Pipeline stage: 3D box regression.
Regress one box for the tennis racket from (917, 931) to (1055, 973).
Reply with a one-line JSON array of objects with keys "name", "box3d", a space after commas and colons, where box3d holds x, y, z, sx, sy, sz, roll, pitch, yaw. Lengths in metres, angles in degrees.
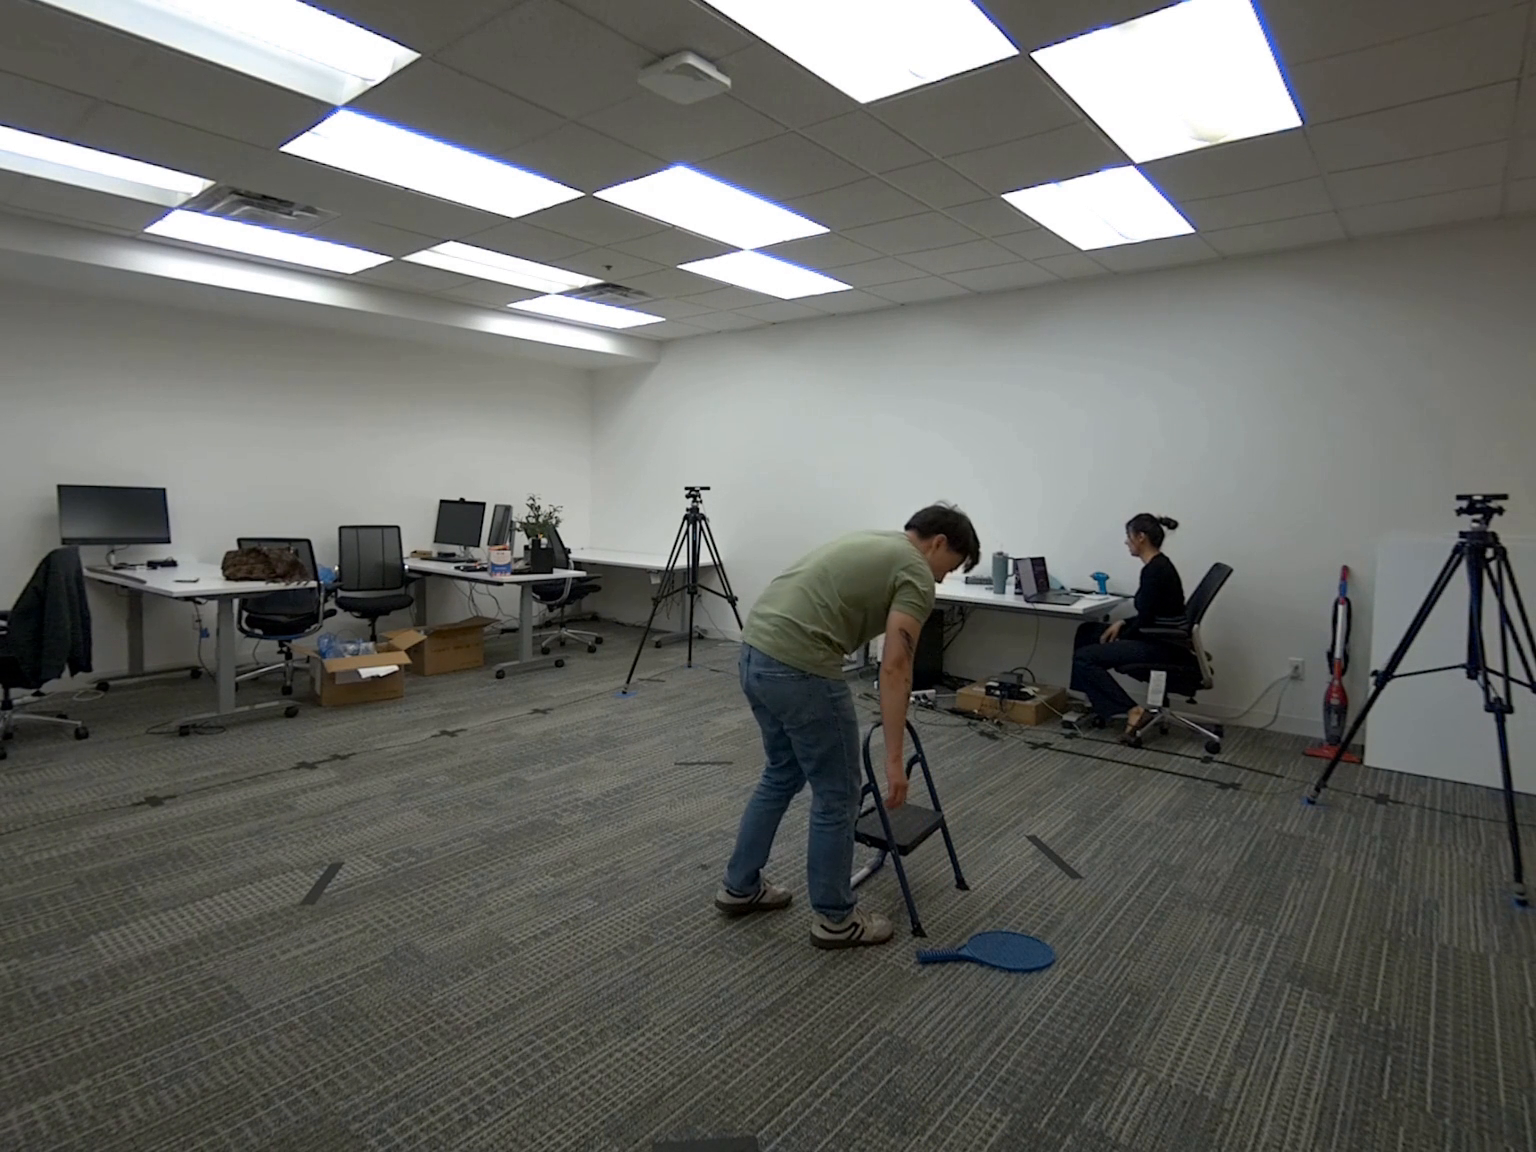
[{"name": "tennis racket", "box3d": [0.644, 1.126, 2.560, 0.426, 0.031, 0.217, 1, 5, -14]}]
